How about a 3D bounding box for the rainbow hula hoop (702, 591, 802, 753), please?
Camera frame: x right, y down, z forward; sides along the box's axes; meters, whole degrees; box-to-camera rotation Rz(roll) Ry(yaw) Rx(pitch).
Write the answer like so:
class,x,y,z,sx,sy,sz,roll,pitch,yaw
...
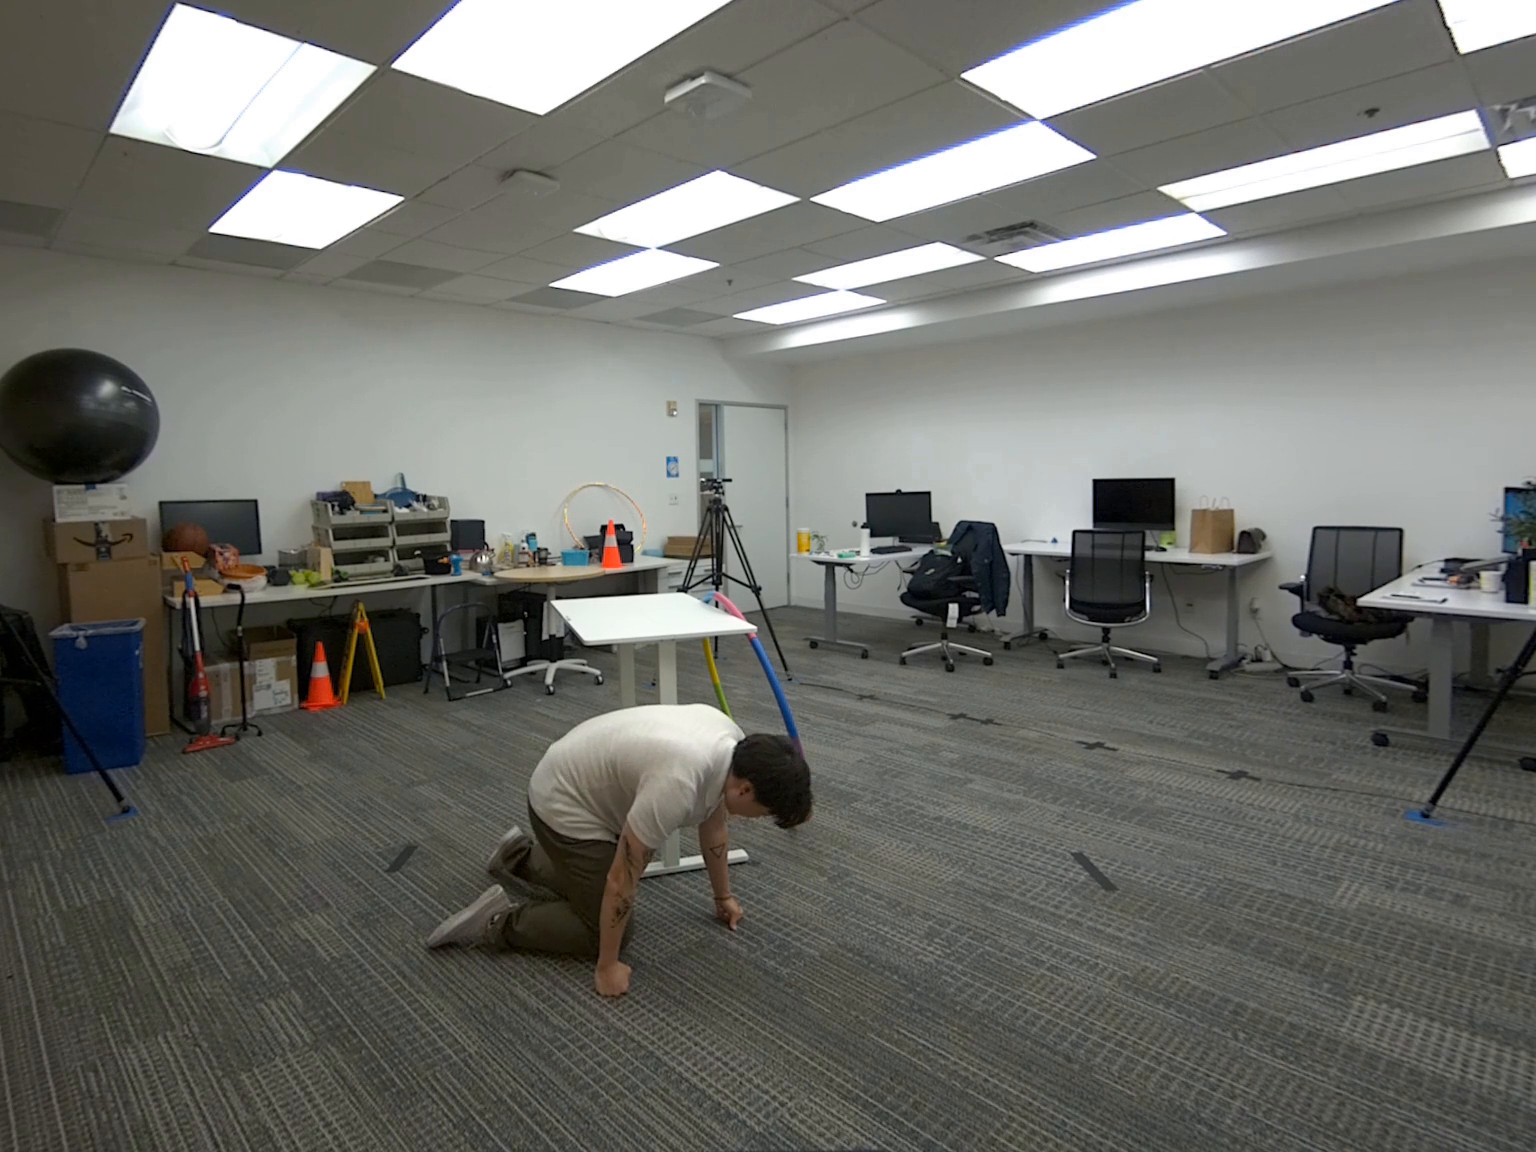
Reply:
class,x,y,z,sx,sy,sz,roll,pitch,yaw
rainbow hula hoop,-0.067,0.535,3.497,0.035,0.969,0.999,-19,10,-18
